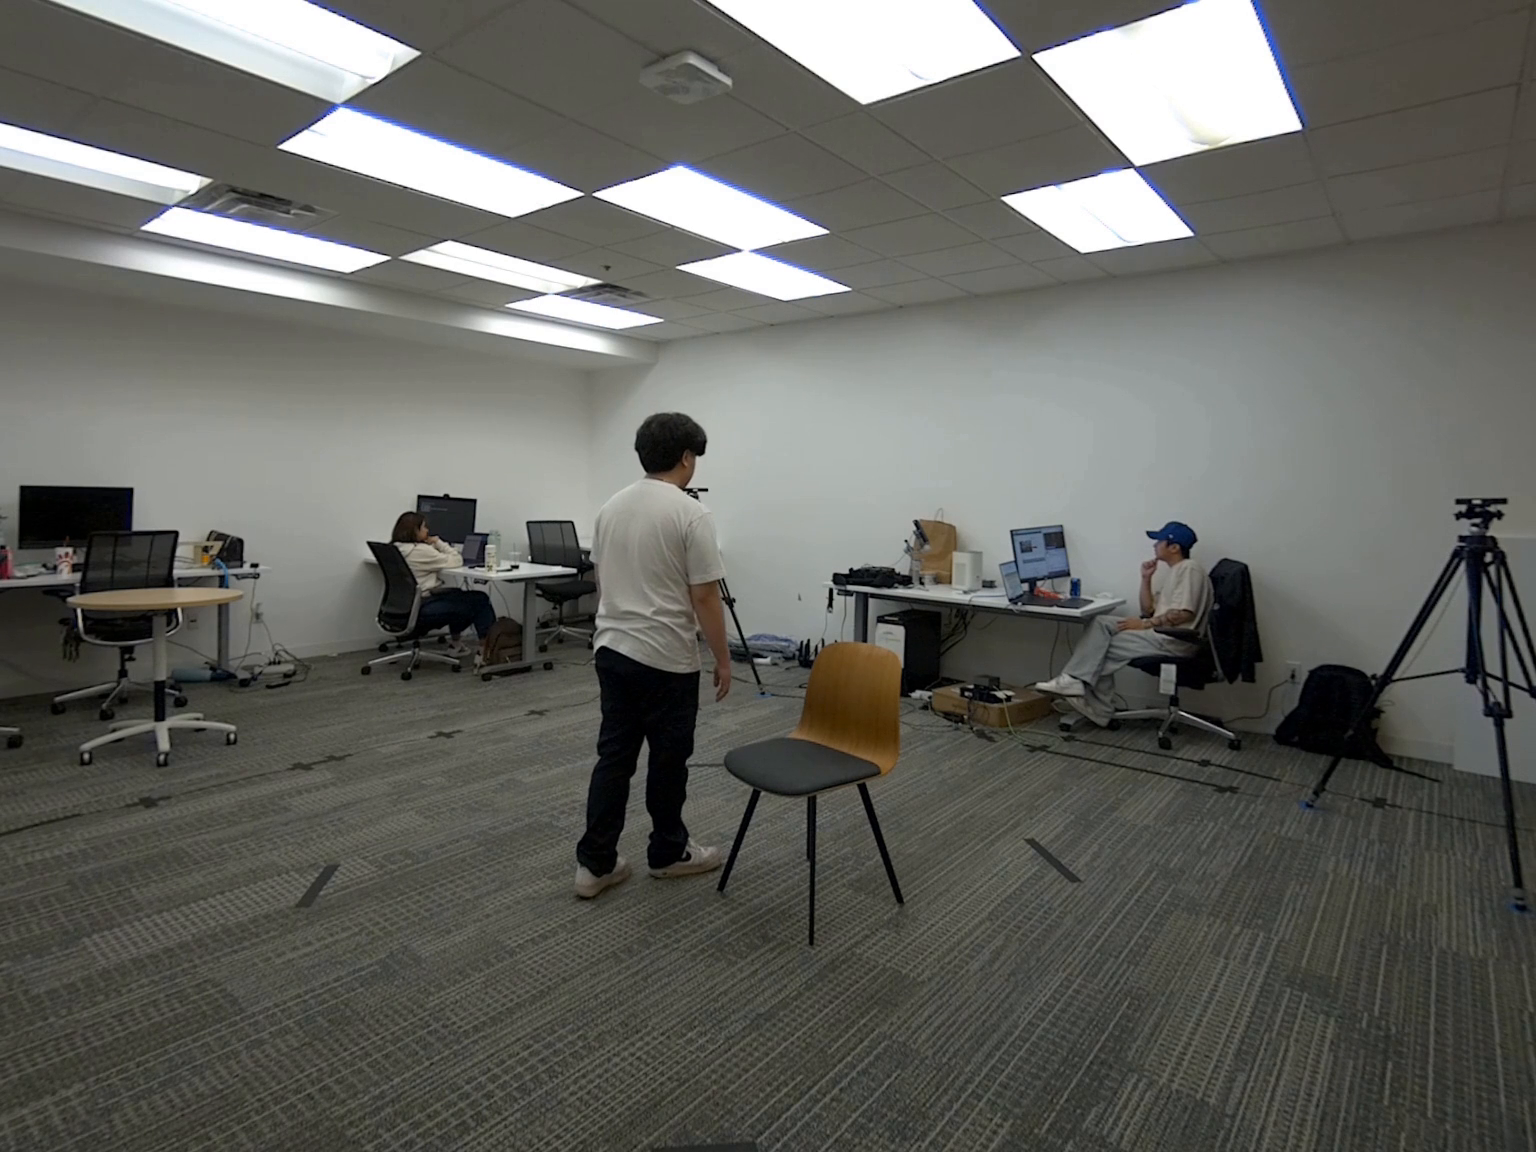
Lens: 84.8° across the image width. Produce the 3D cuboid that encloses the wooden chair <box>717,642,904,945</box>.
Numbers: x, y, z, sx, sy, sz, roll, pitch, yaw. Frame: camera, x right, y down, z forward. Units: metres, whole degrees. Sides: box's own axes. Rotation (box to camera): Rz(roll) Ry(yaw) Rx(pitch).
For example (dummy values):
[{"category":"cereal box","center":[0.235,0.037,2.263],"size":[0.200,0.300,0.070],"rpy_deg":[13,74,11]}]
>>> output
[{"category":"wooden chair","center":[0.145,0.675,2.877],"size":[0.505,0.877,0.494],"rpy_deg":[5,1,-42]}]
